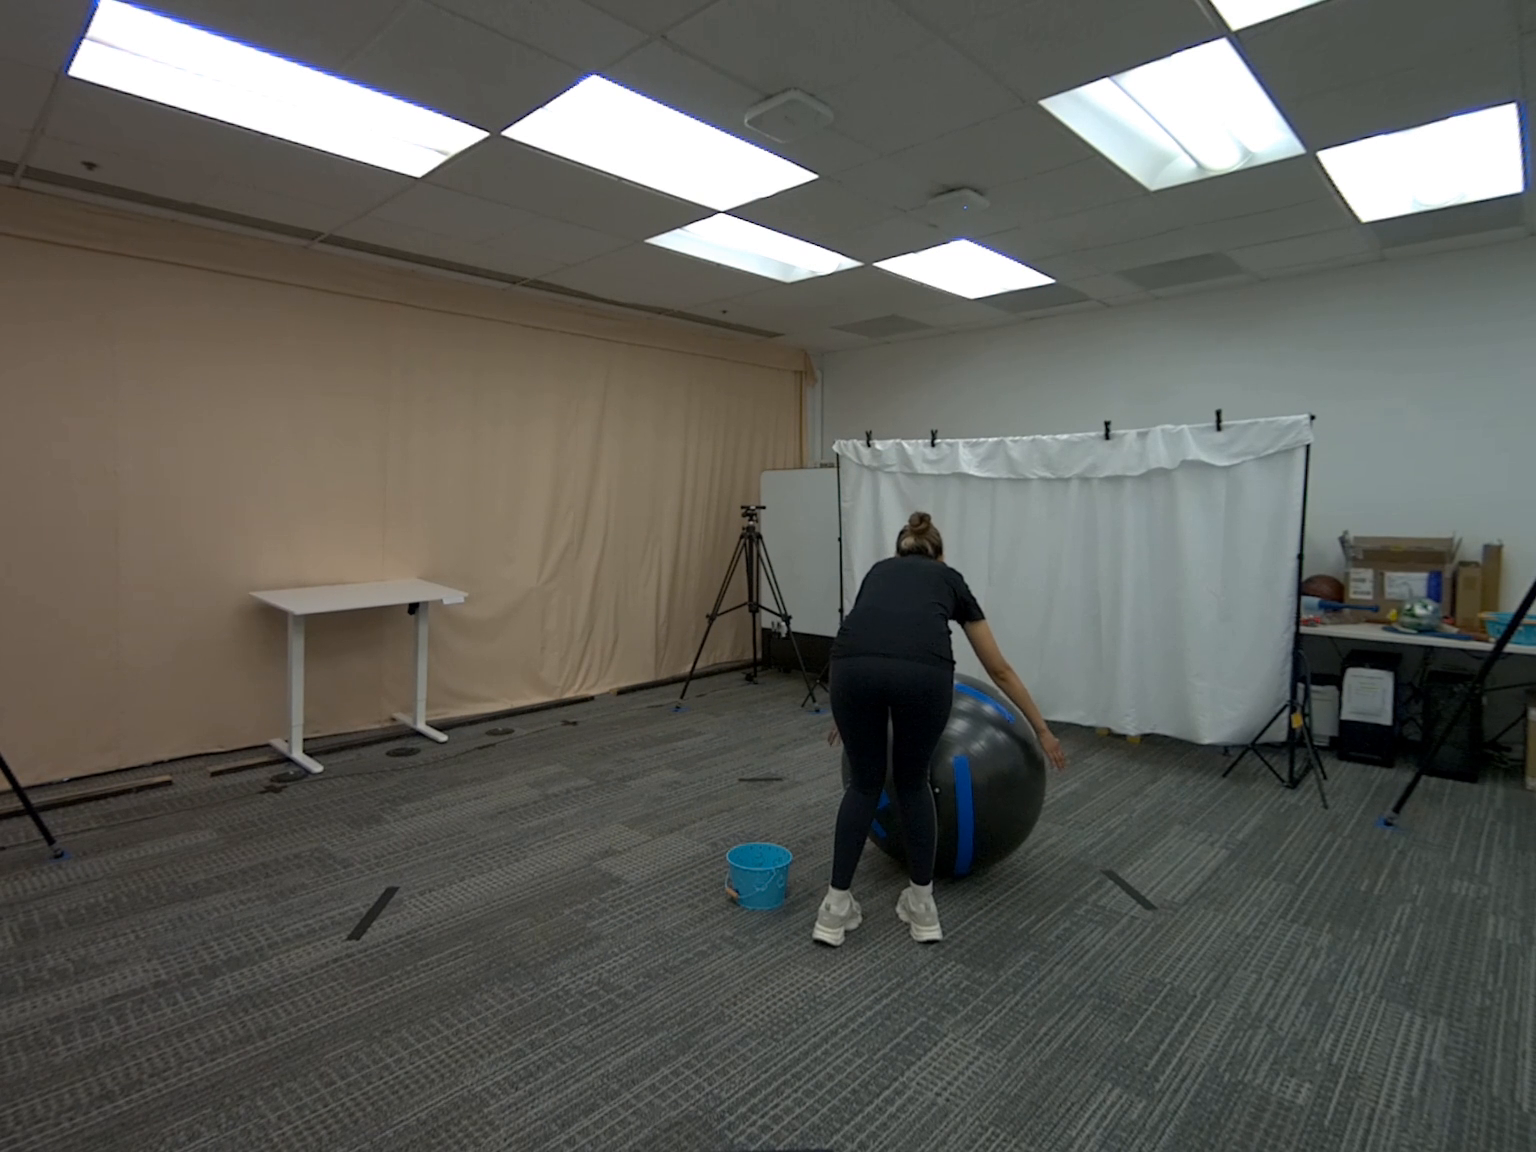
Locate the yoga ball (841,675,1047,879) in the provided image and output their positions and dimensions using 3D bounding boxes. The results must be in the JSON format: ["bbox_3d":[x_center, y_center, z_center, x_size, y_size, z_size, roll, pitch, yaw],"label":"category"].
[{"bbox_3d":[0.668,0.753,3.254,0.757,0.756,0.760,0,4,-2],"label":"yoga ball"}]
